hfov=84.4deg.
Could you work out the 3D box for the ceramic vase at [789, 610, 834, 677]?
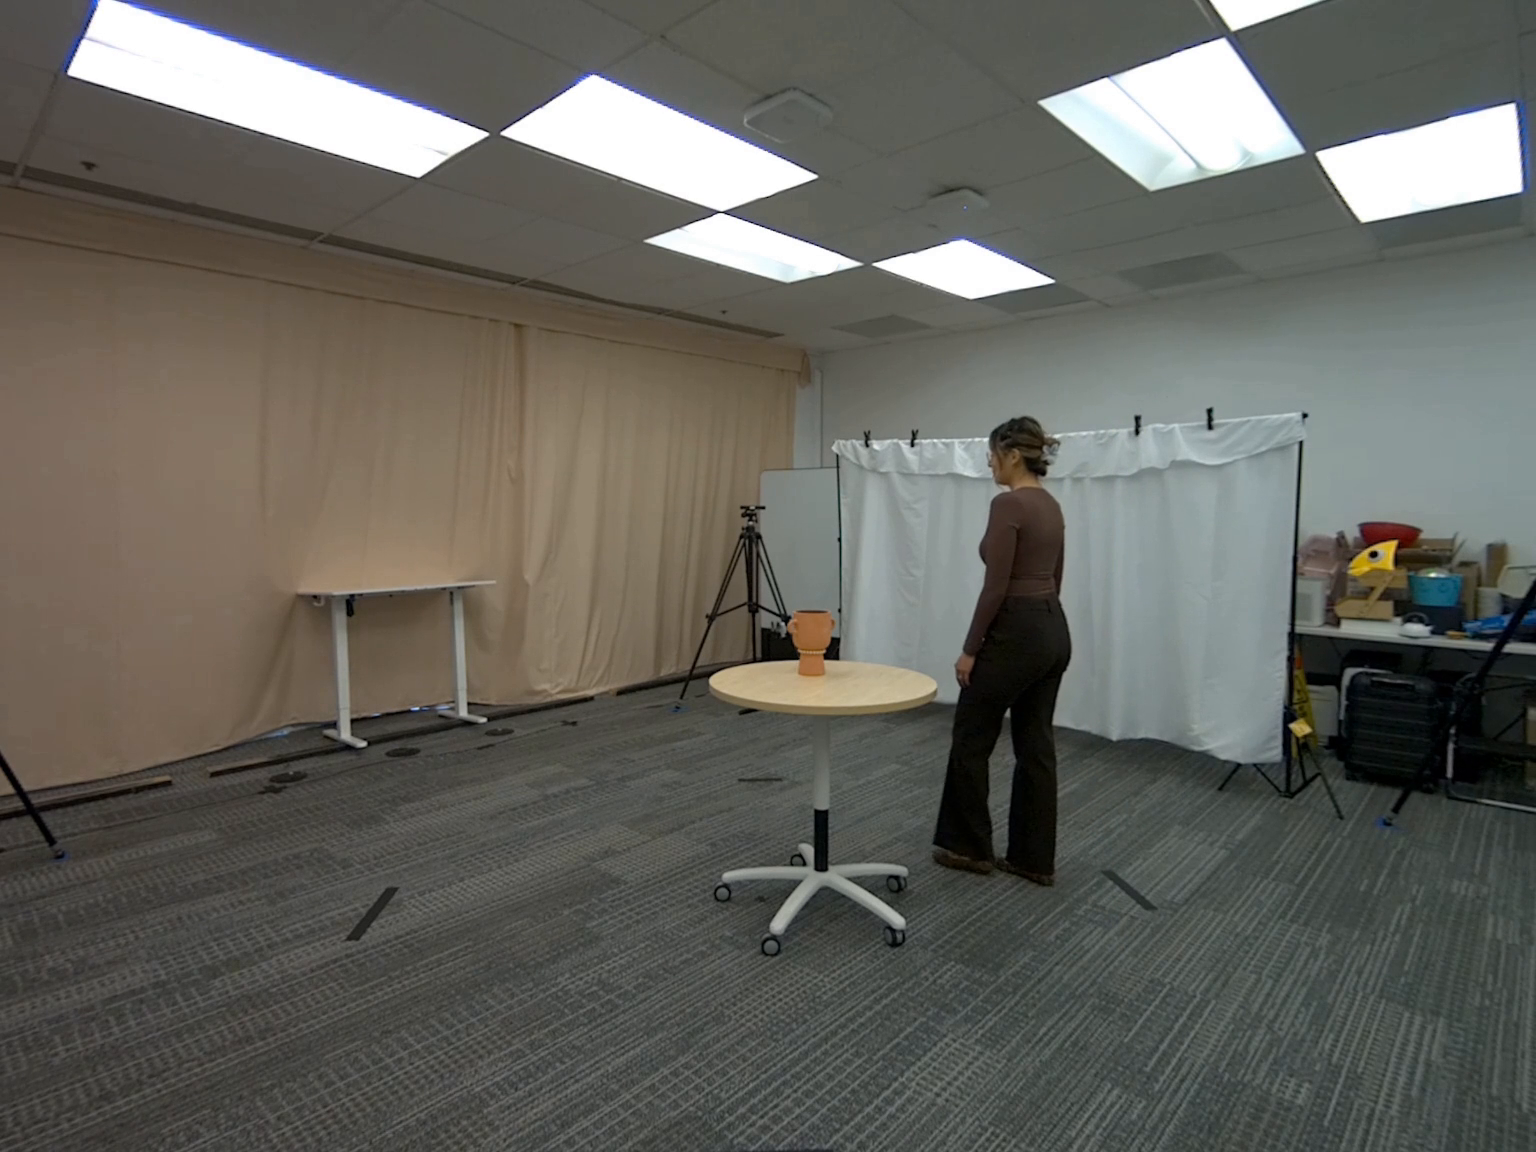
[{"bbox_3d":[0.160,0.240,2.989,0.161,0.219,0.133,1,1,14],"label":"ceramic vase"}]
